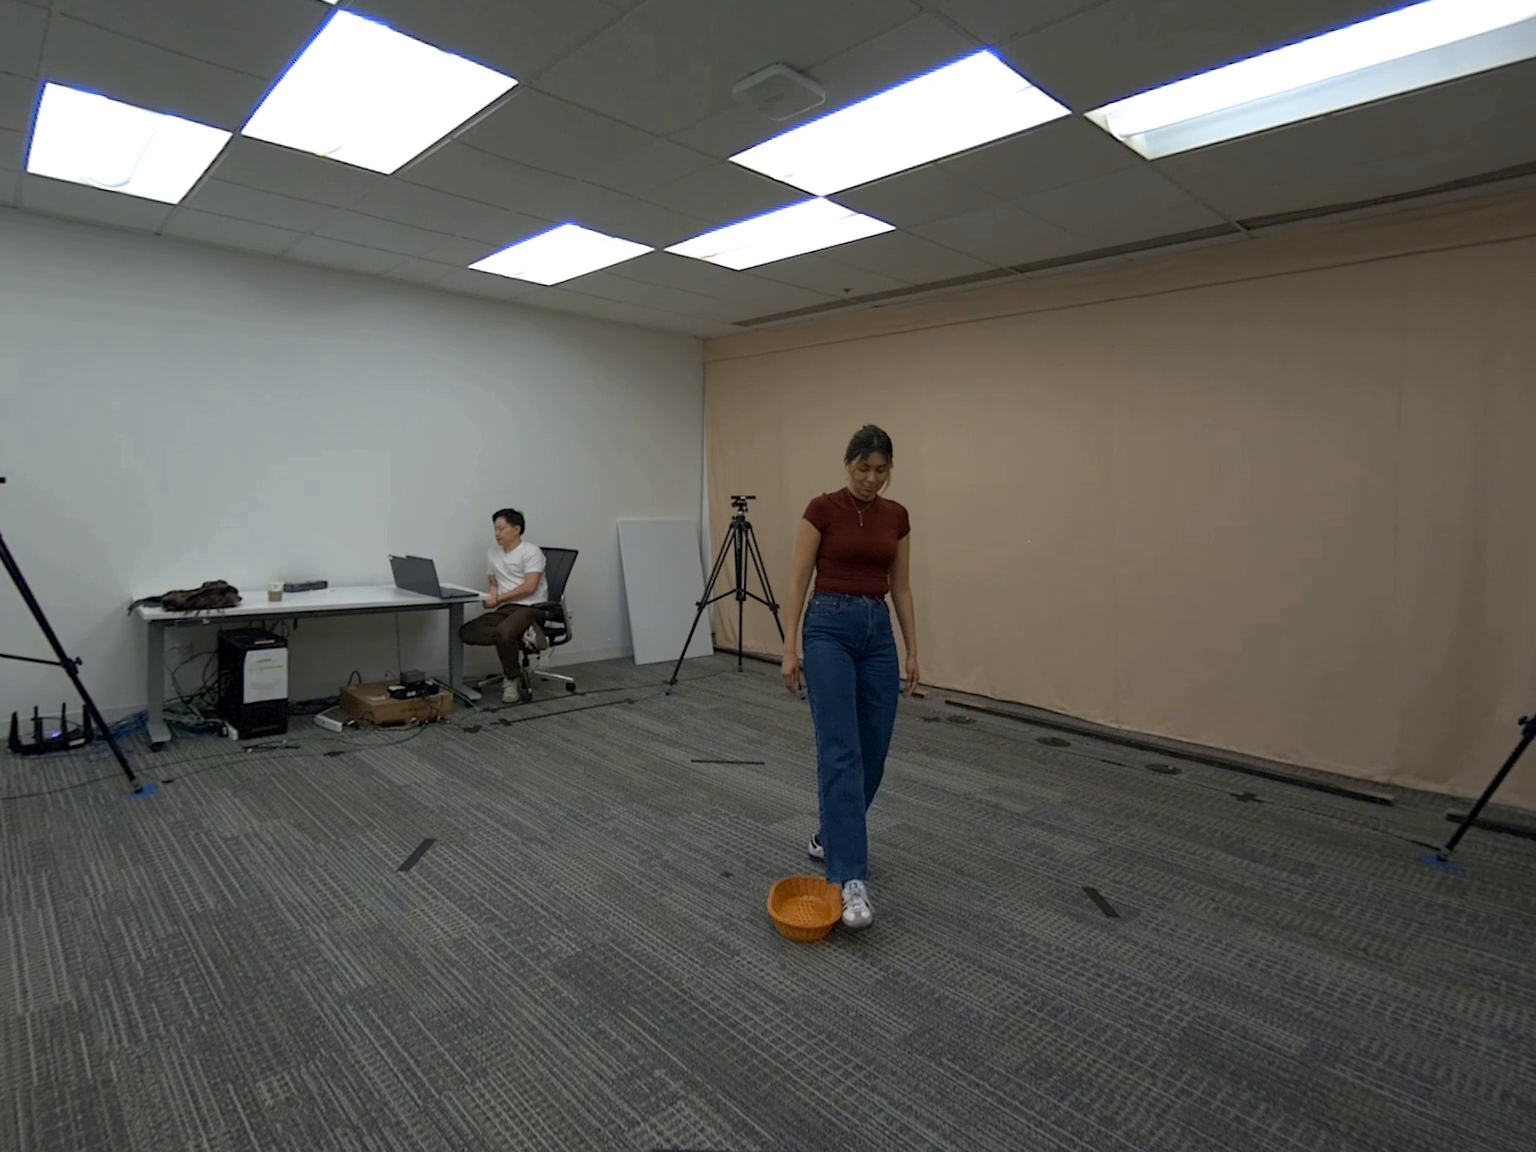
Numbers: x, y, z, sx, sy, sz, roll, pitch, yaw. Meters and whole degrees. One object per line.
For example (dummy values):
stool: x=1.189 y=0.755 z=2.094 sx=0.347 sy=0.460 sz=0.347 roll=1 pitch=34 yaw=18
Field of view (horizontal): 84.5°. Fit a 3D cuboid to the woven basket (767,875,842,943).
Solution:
woven basket: x=0.123 y=1.096 z=2.781 sx=0.255 sy=0.073 sz=0.348 roll=3 pitch=6 yaw=11
